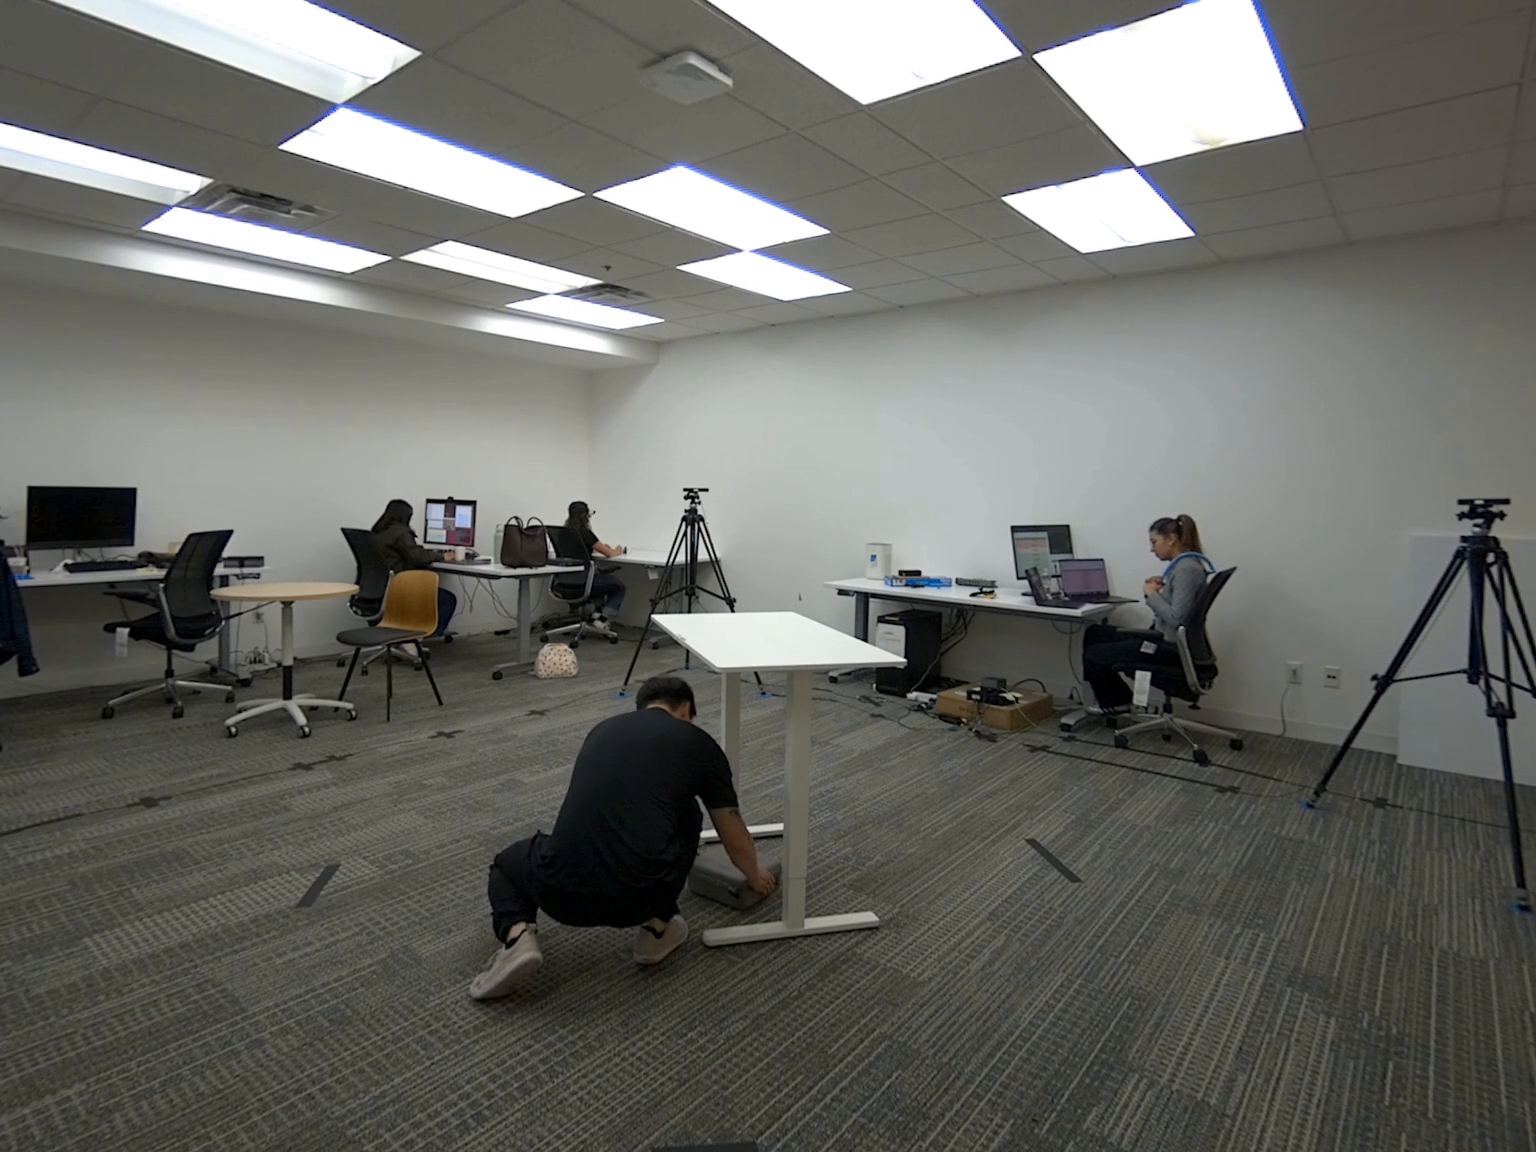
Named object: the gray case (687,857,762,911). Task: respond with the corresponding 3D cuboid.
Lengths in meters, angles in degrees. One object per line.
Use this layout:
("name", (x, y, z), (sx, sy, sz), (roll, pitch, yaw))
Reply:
("gray case", (-0.121, 1.025, 2.960), (0.265, 0.104, 0.253), (3, 3, 36))
